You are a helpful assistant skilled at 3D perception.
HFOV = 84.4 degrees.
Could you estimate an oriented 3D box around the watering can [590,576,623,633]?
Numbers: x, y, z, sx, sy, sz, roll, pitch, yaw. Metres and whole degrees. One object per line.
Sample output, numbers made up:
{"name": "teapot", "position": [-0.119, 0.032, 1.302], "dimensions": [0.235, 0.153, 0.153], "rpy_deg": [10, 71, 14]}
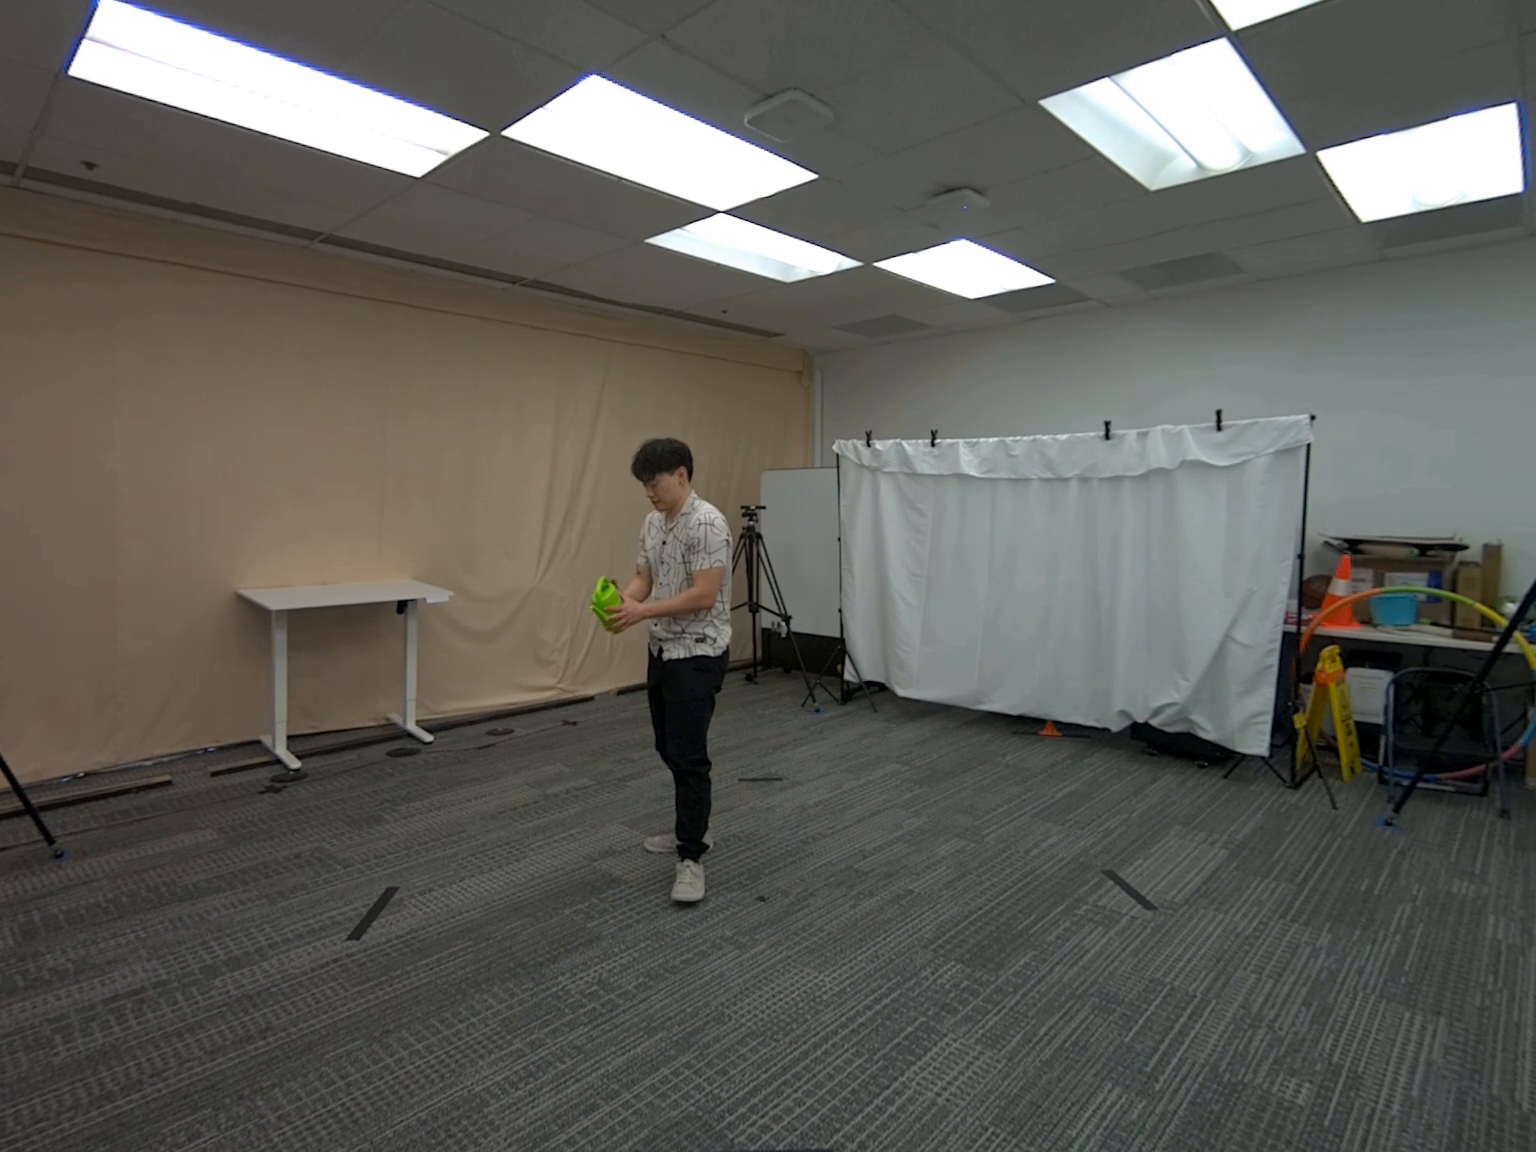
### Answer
{"name": "watering can", "position": [-0.589, 0.119, 3.042], "dimensions": [0.100, 0.173, 0.277], "rpy_deg": [-8, 25, 28]}
